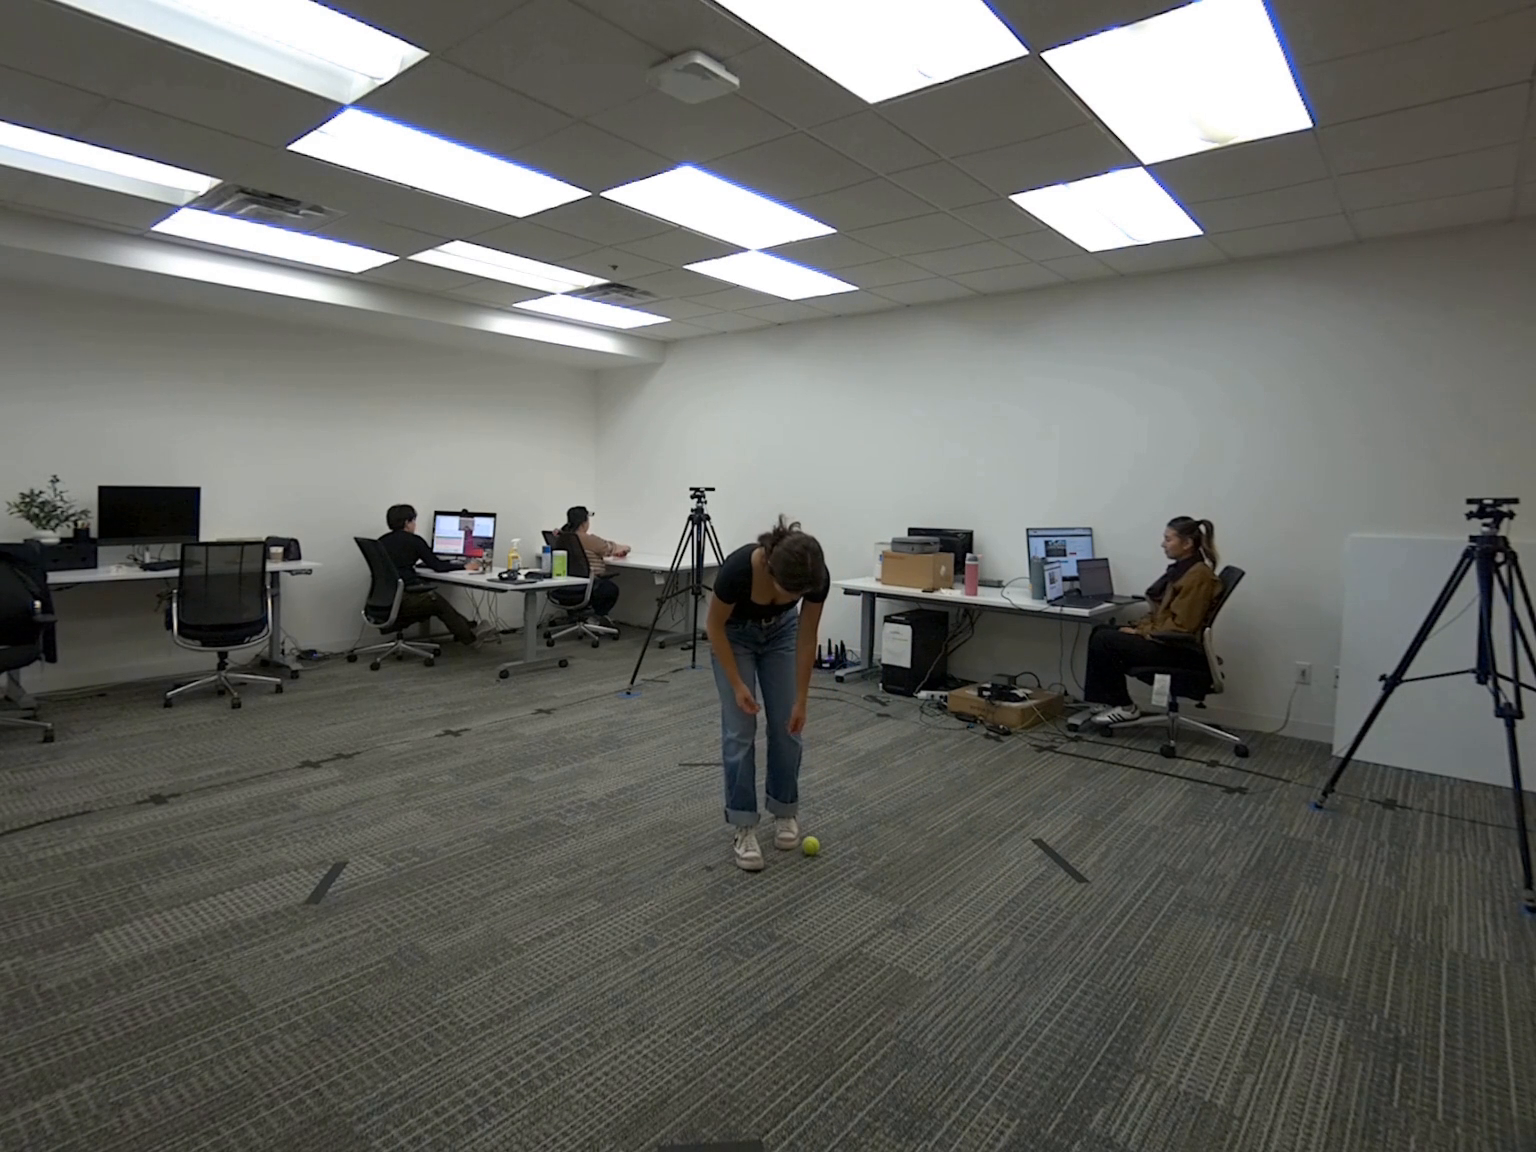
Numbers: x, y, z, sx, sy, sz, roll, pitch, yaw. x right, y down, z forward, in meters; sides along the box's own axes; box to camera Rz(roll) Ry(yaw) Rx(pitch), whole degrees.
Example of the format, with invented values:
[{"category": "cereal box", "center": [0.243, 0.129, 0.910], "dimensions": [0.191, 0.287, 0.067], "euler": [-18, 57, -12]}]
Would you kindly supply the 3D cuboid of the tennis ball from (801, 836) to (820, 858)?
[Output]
[{"category": "tennis ball", "center": [0.153, 1.015, 3.258], "dimensions": [0.066, 0.066, 0.067], "euler": [1, 4, -2]}]
